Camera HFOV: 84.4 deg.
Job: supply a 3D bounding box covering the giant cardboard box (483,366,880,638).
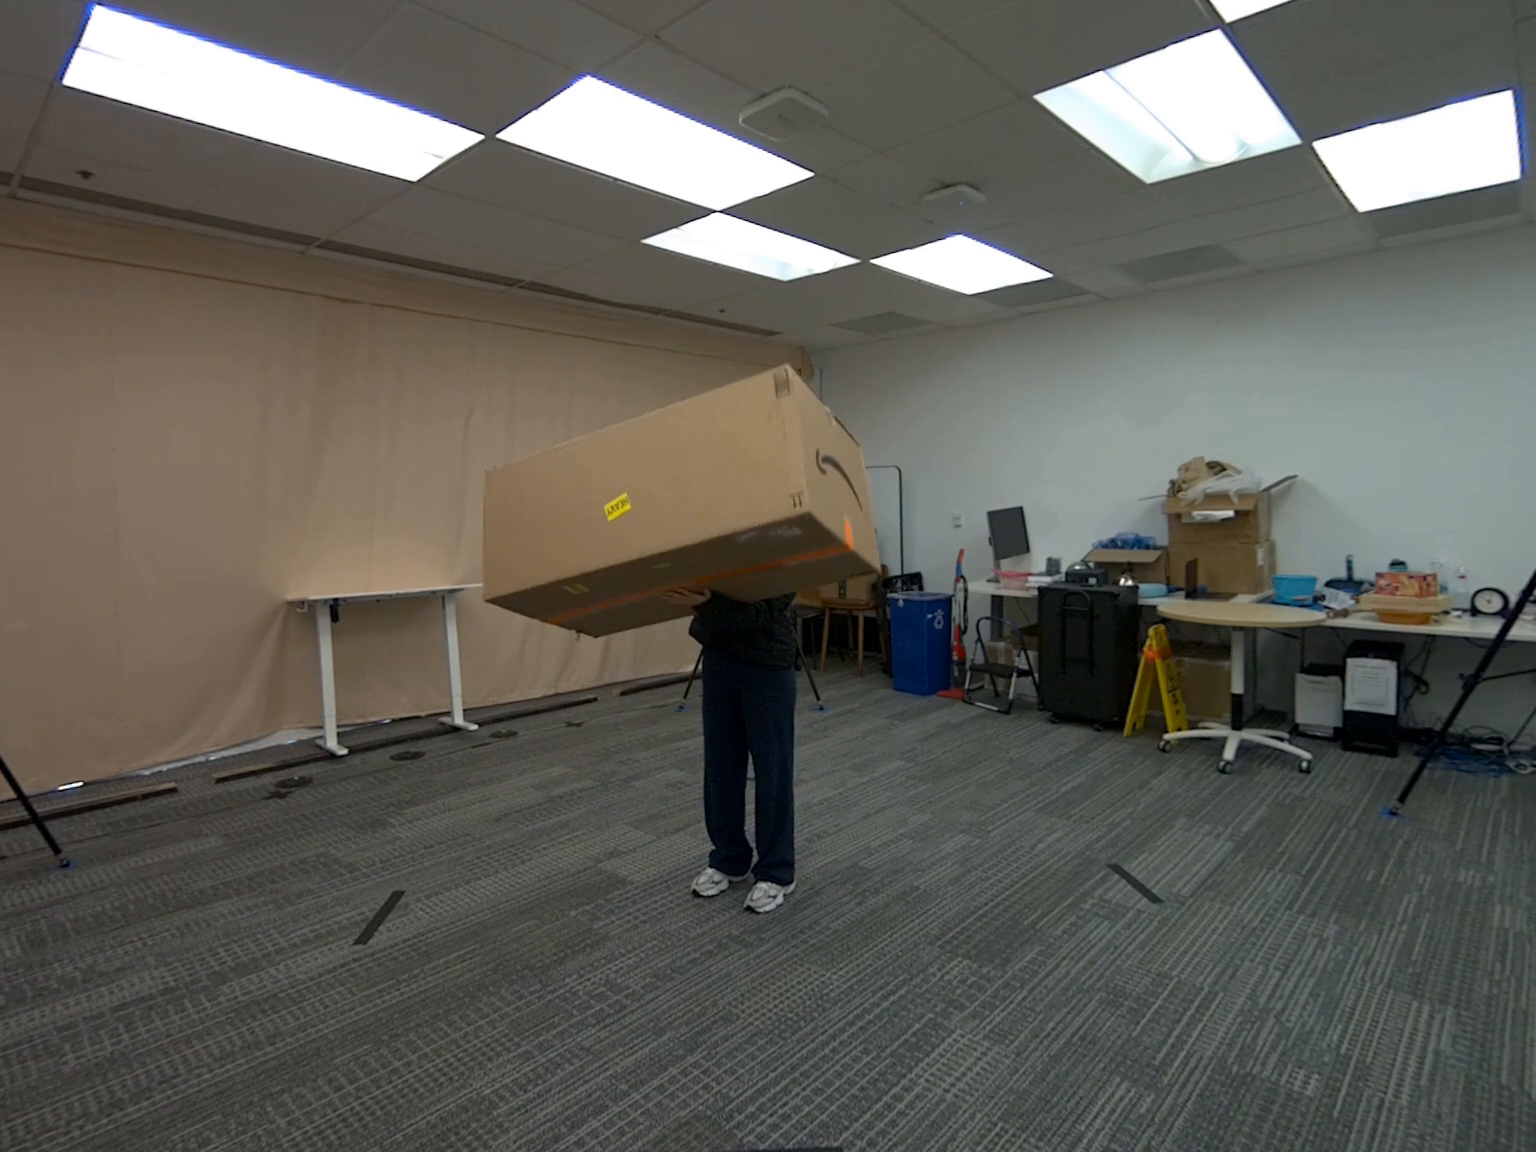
[{"bbox_3d":[-0.248,-0.157,2.537,1.046,0.432,0.558,-13,-21,23],"label":"giant cardboard box"}]
